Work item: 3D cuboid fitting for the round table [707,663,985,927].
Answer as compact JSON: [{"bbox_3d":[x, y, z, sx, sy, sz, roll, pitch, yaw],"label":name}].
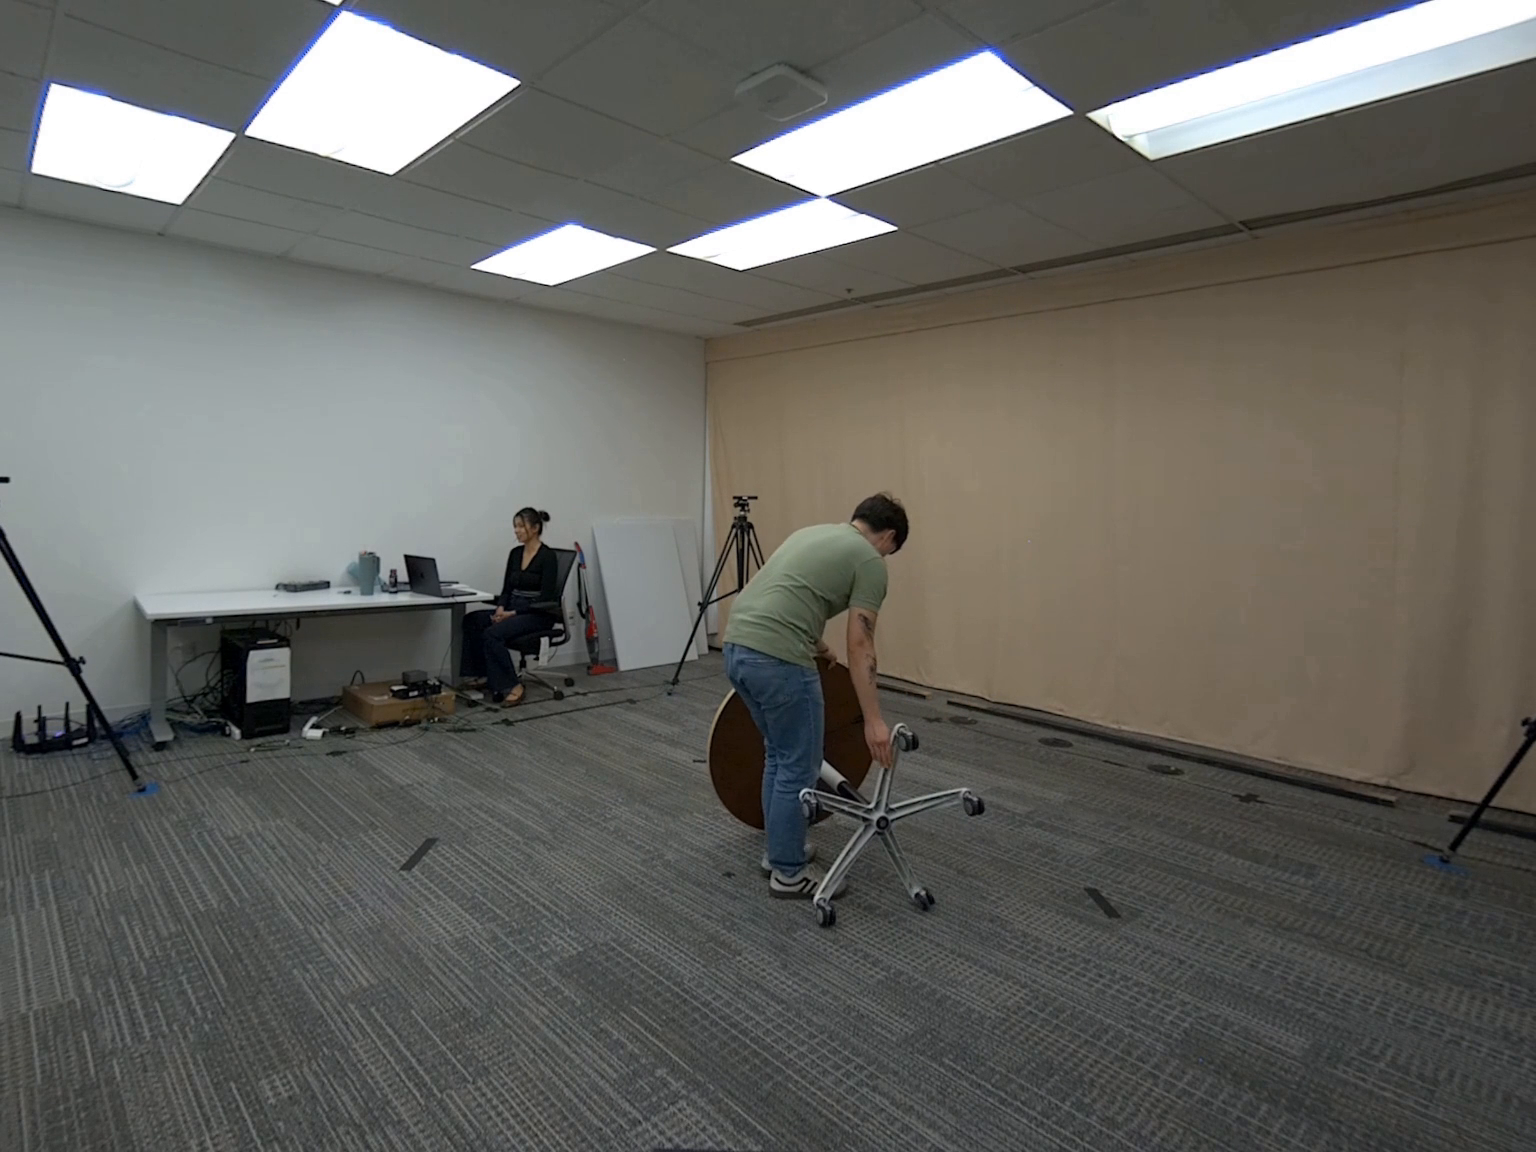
[{"bbox_3d":[0.259,0.778,3.123,0.752,0.758,0.813,0,12,-22],"label":"round table"}]
